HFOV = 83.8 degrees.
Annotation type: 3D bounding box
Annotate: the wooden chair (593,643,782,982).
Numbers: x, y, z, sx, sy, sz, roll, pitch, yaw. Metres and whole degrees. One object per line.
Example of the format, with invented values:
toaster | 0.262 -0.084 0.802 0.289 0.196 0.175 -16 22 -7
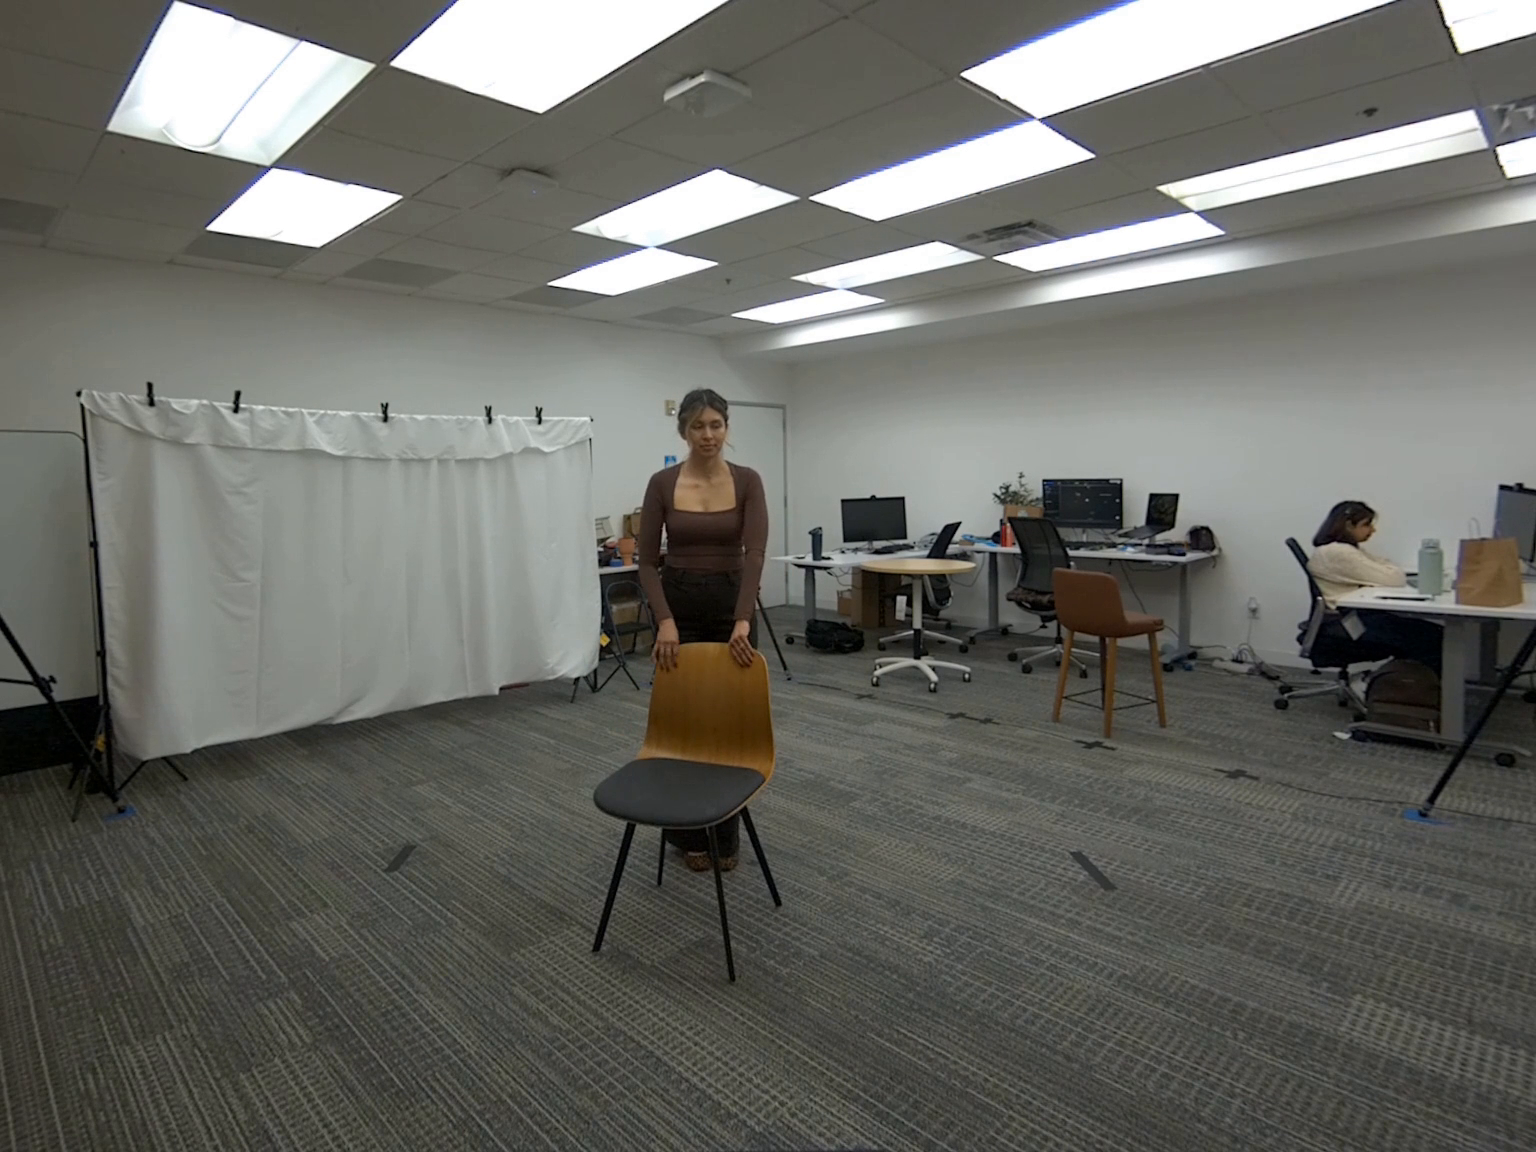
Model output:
wooden chair | -0.245 0.677 2.622 0.487 0.877 0.513 1 1 20
